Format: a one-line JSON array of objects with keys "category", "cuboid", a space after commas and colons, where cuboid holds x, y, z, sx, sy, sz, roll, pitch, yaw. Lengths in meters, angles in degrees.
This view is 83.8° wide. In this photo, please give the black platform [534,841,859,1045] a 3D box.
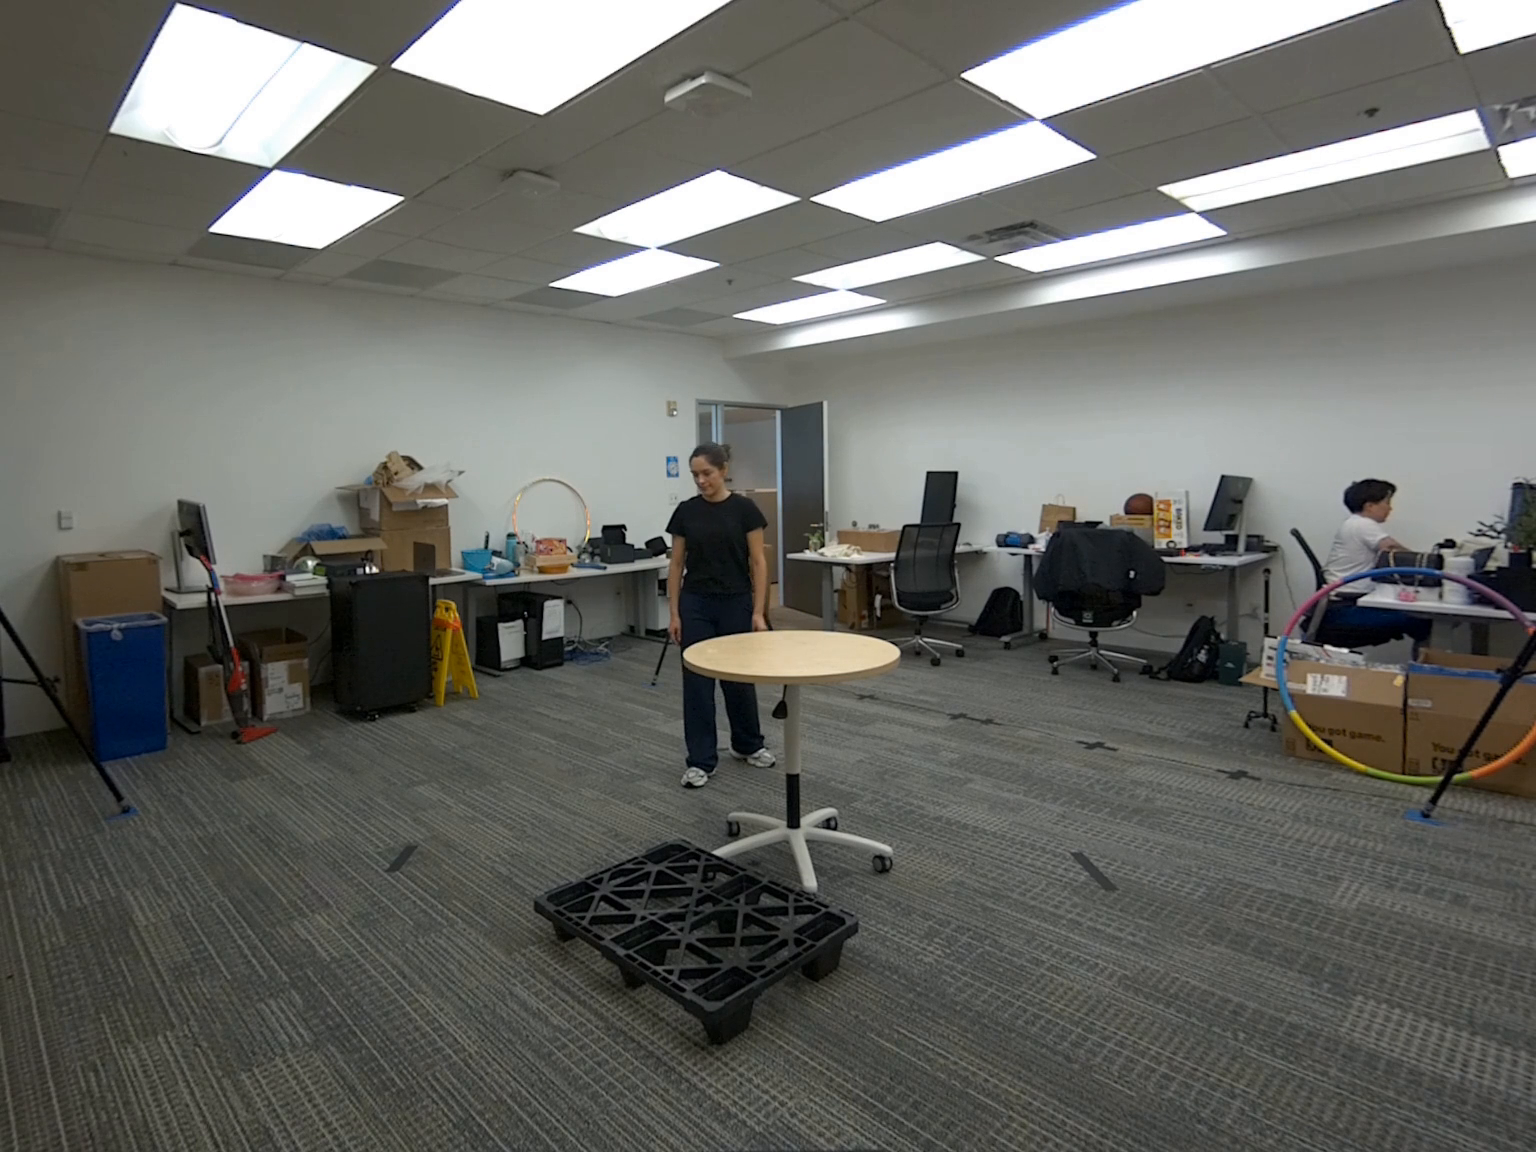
[{"category": "black platform", "cuboid": [-0.228, 1.052, 2.551, 0.831, 0.142, 0.589, 6, 9, 43]}]
